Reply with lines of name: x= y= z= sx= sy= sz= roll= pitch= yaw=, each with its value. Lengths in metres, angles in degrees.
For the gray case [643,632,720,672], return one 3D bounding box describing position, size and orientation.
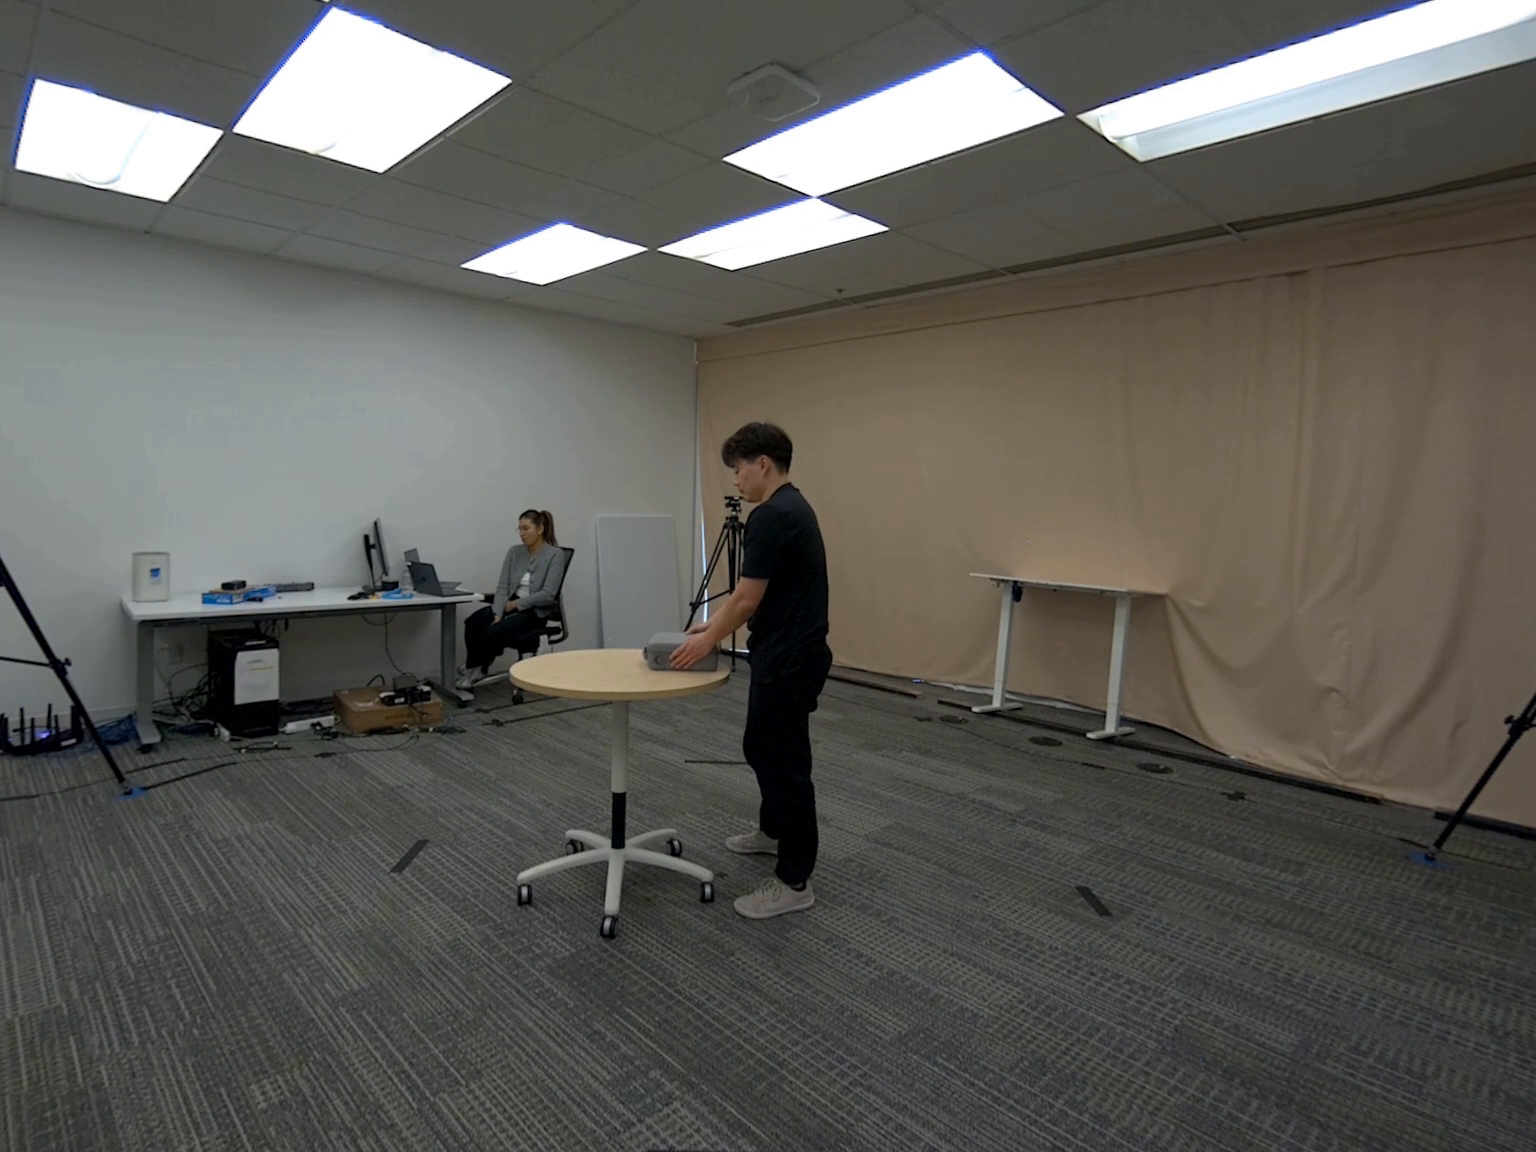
gray case: x=-0.311 y=0.273 z=3.045 sx=0.261 sy=0.104 sz=0.258 roll=1 pitch=6 yaw=-1
